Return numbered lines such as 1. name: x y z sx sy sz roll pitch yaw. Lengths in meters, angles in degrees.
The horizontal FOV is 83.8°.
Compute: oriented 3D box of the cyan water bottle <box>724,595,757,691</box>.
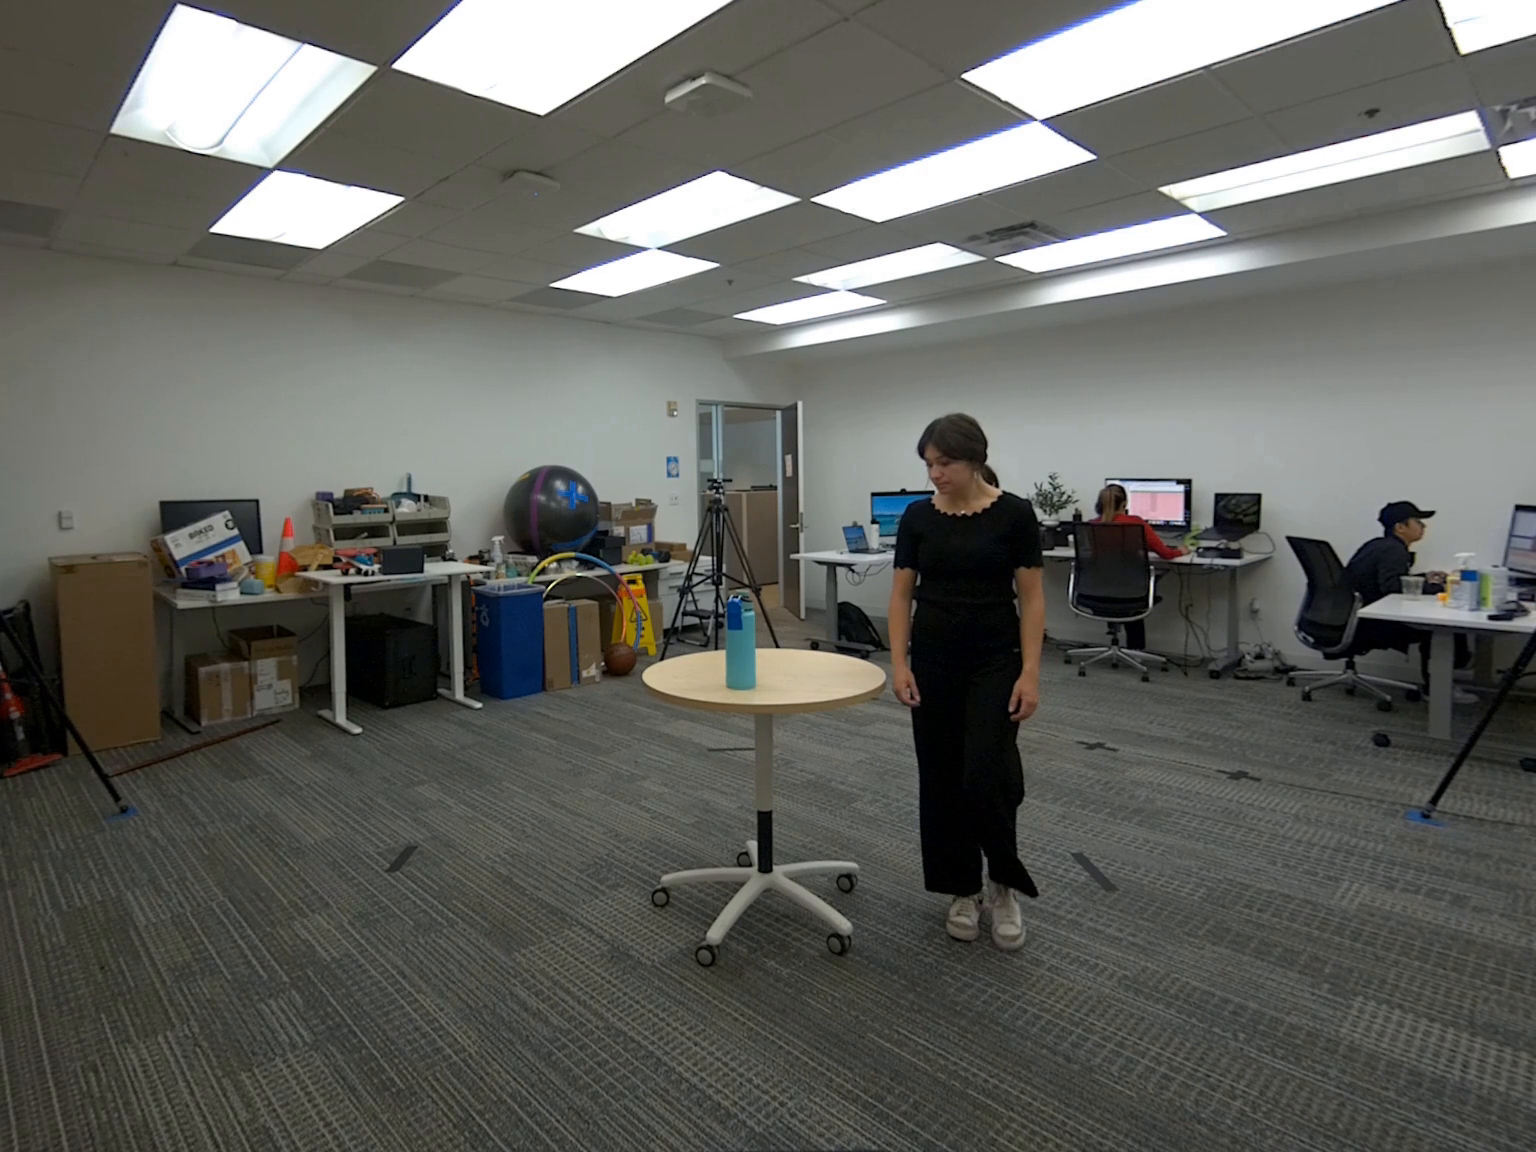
1. cyan water bottle: -0.077 0.184 2.520 0.092 0.283 0.092 -1 2 -2
